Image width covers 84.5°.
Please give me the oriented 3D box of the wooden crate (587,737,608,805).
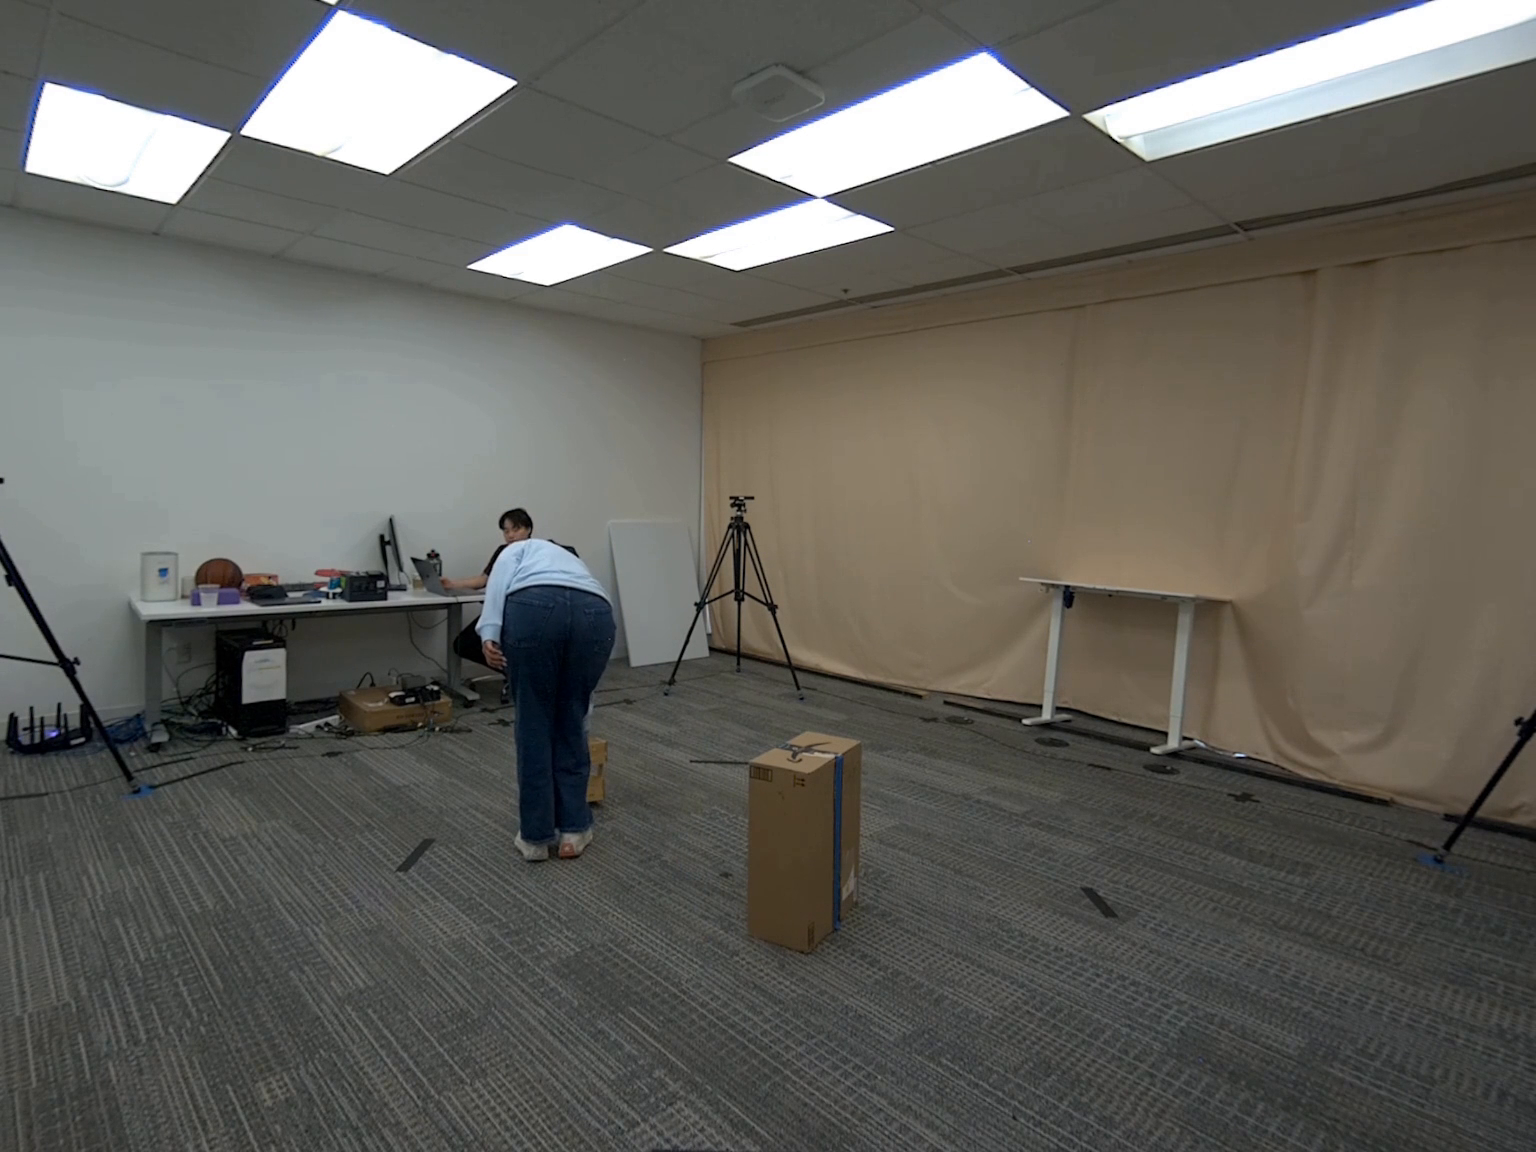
[{"bbox_3d":[-0.927,0.880,3.792,0.318,0.274,0.307,-2,-3,-29],"label":"wooden crate"}]
